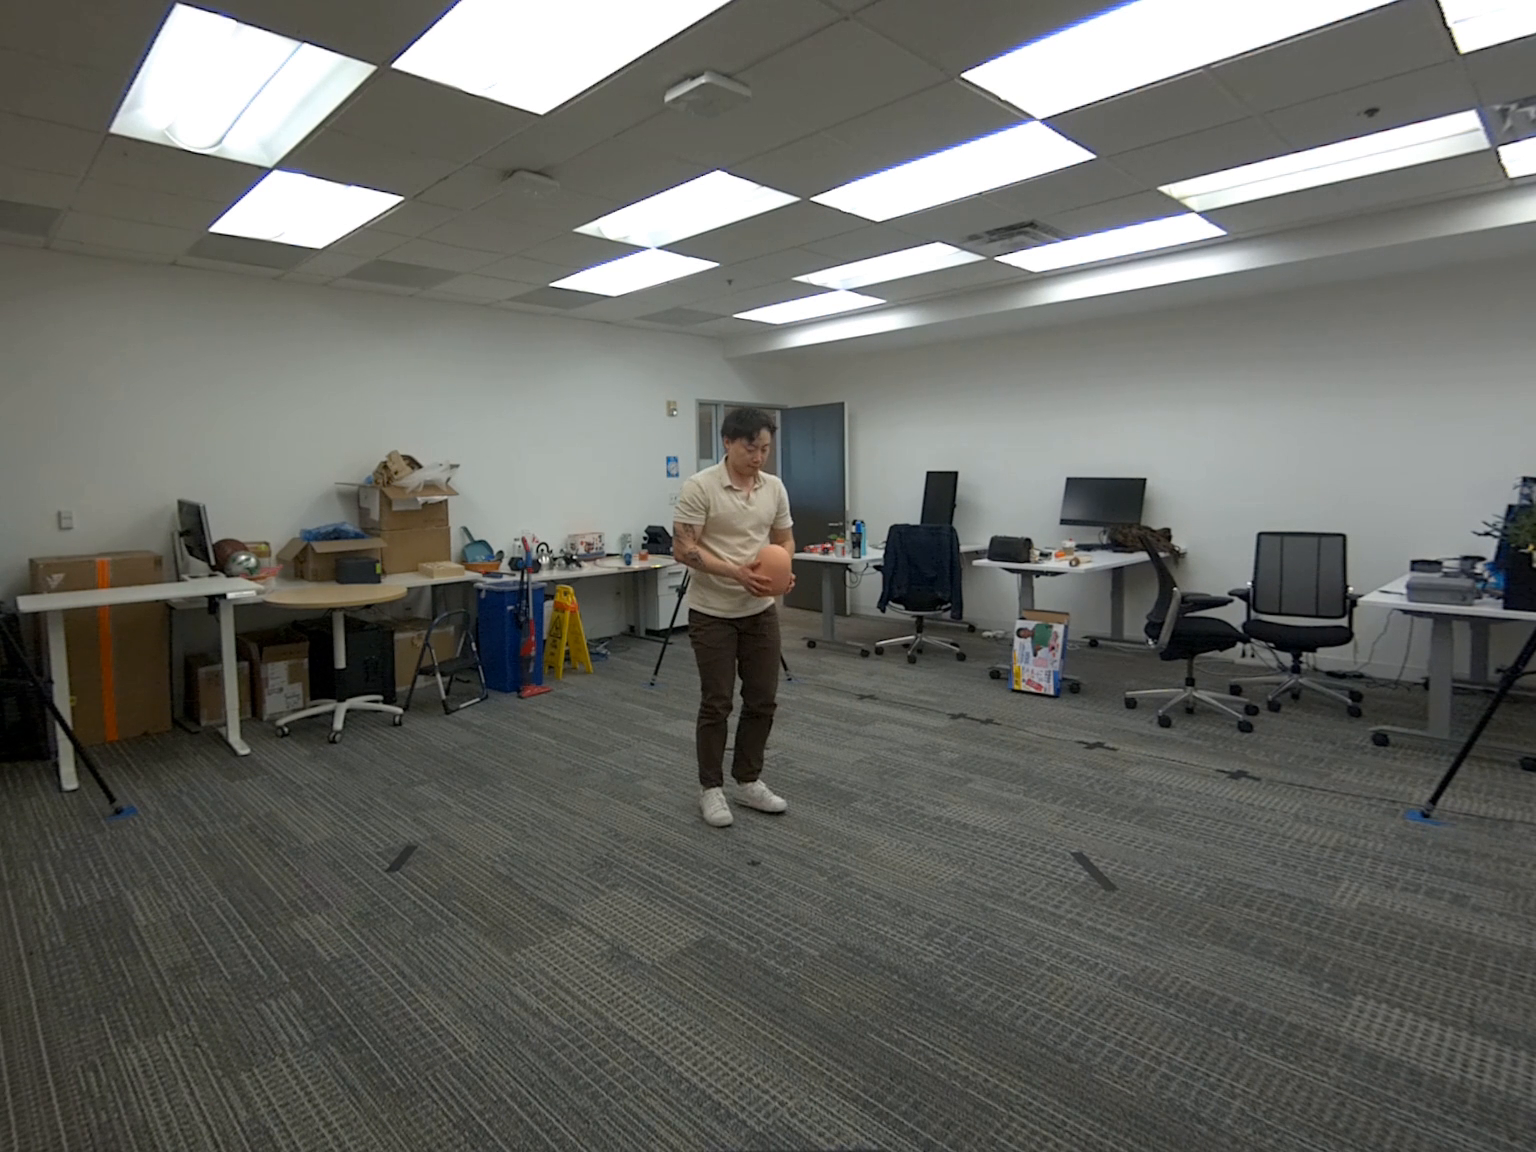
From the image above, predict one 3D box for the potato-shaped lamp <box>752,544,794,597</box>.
[{"bbox_3d":[0.002,-0.022,3.323,0.178,0.195,0.161,22,22,40],"label":"potato-shaped lamp"}]
